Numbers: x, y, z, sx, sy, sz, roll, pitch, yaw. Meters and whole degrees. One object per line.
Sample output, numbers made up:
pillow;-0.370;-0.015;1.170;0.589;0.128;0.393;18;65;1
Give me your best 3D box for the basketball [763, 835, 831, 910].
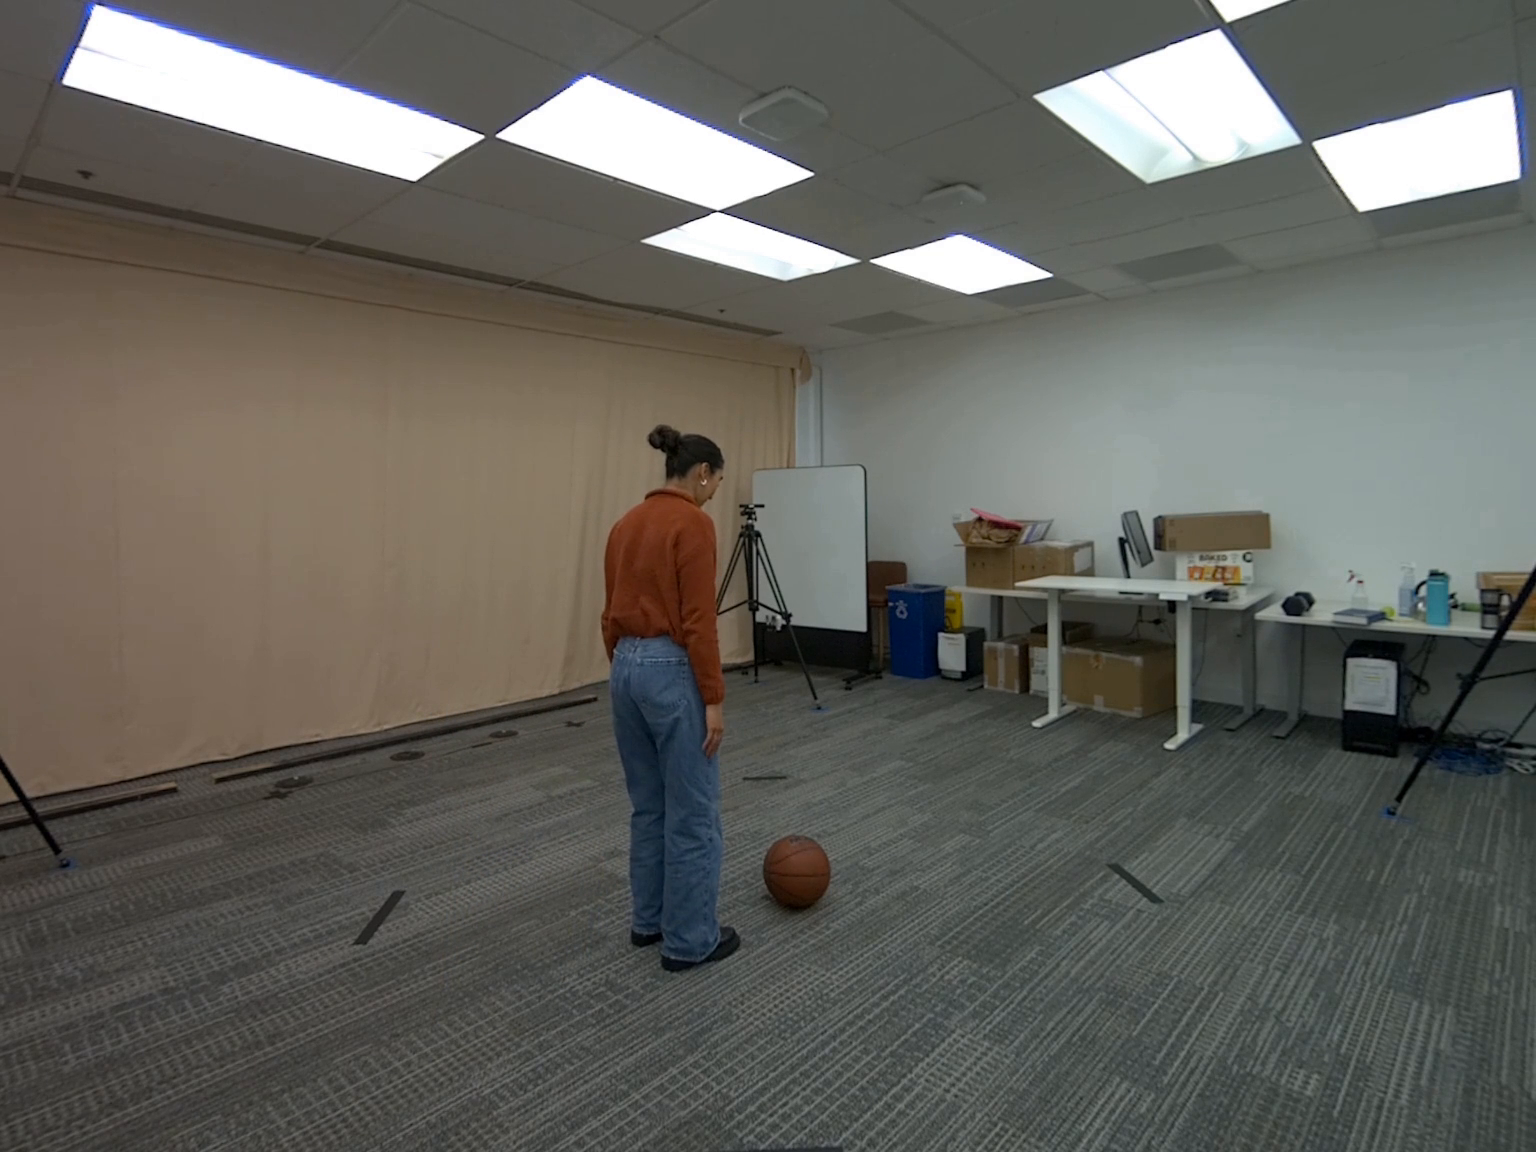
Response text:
basketball;0.099;1.024;2.925;0.236;0.235;0.237;-1;4;-2
